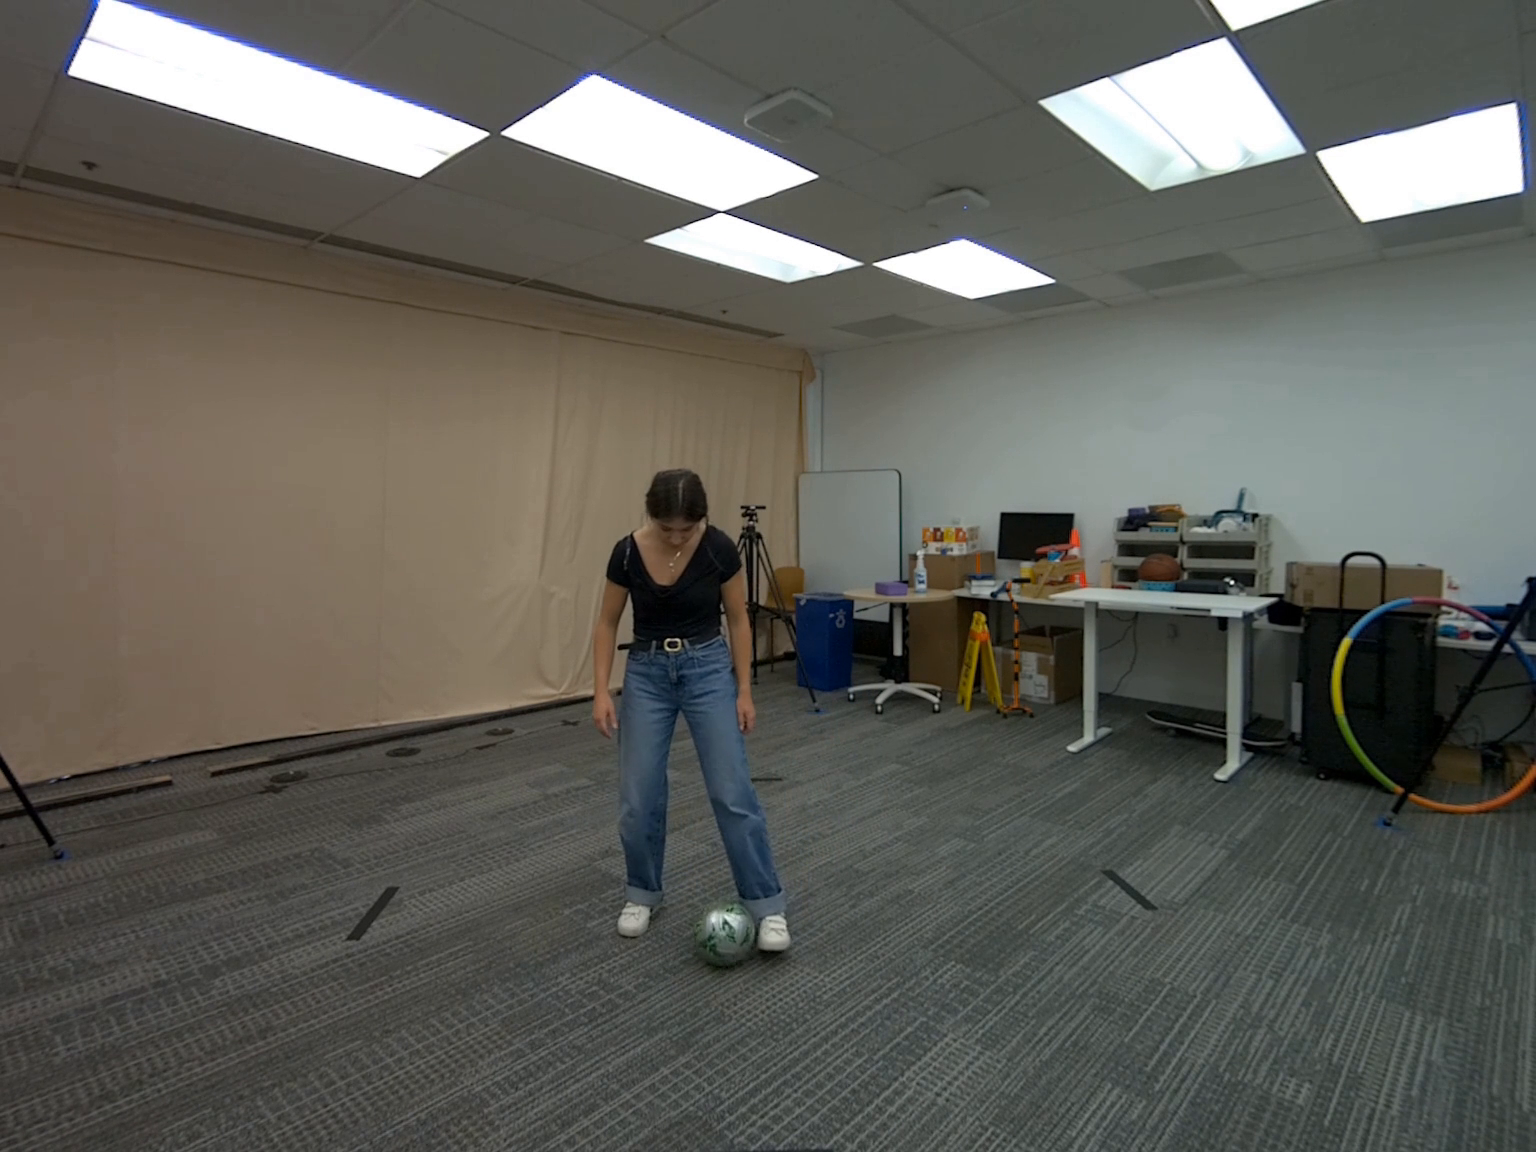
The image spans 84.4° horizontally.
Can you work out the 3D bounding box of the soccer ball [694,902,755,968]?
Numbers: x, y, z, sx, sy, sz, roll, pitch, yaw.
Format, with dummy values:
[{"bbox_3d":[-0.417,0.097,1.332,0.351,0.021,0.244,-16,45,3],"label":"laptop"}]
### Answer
[{"bbox_3d":[-0.136,1.090,2.562,0.187,0.187,0.188,0,4,-2],"label":"soccer ball"}]
